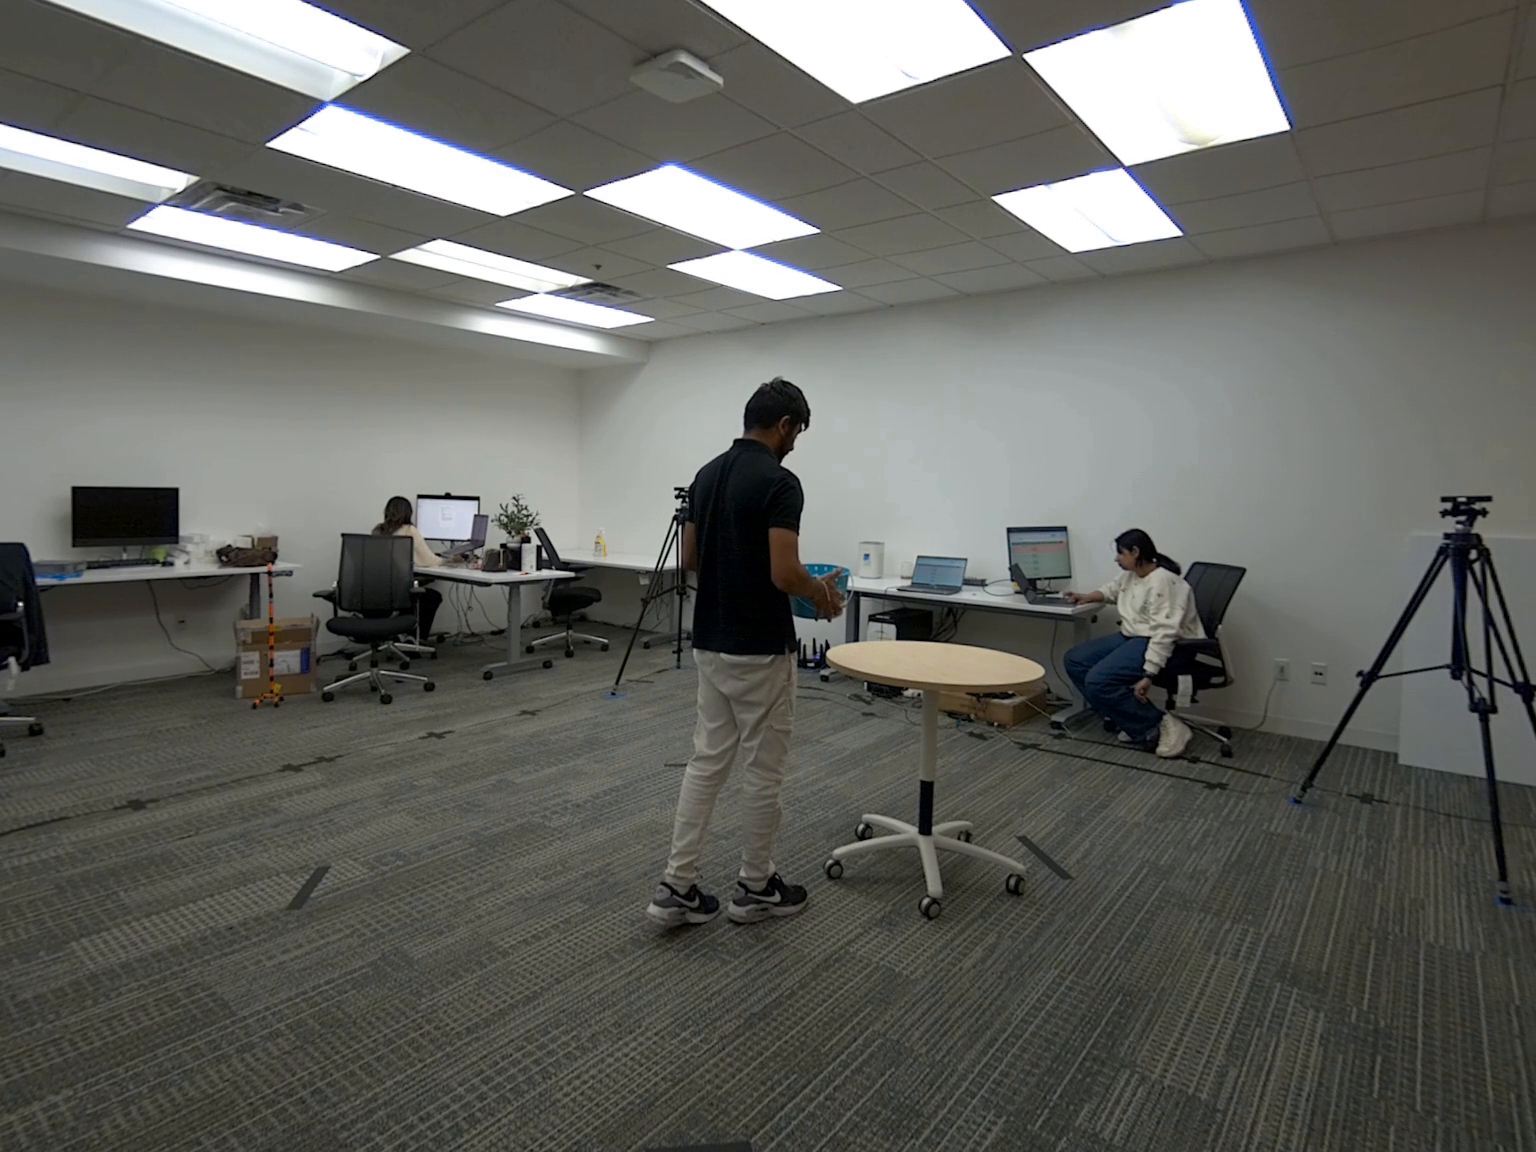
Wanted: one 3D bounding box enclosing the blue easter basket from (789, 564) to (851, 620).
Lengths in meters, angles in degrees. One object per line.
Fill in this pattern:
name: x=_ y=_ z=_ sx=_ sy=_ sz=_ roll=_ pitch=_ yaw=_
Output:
blue easter basket: x=0.154 y=0.057 z=2.888 sx=0.243 sy=0.155 sz=0.246 roll=-1 pitch=9 yaw=-2
